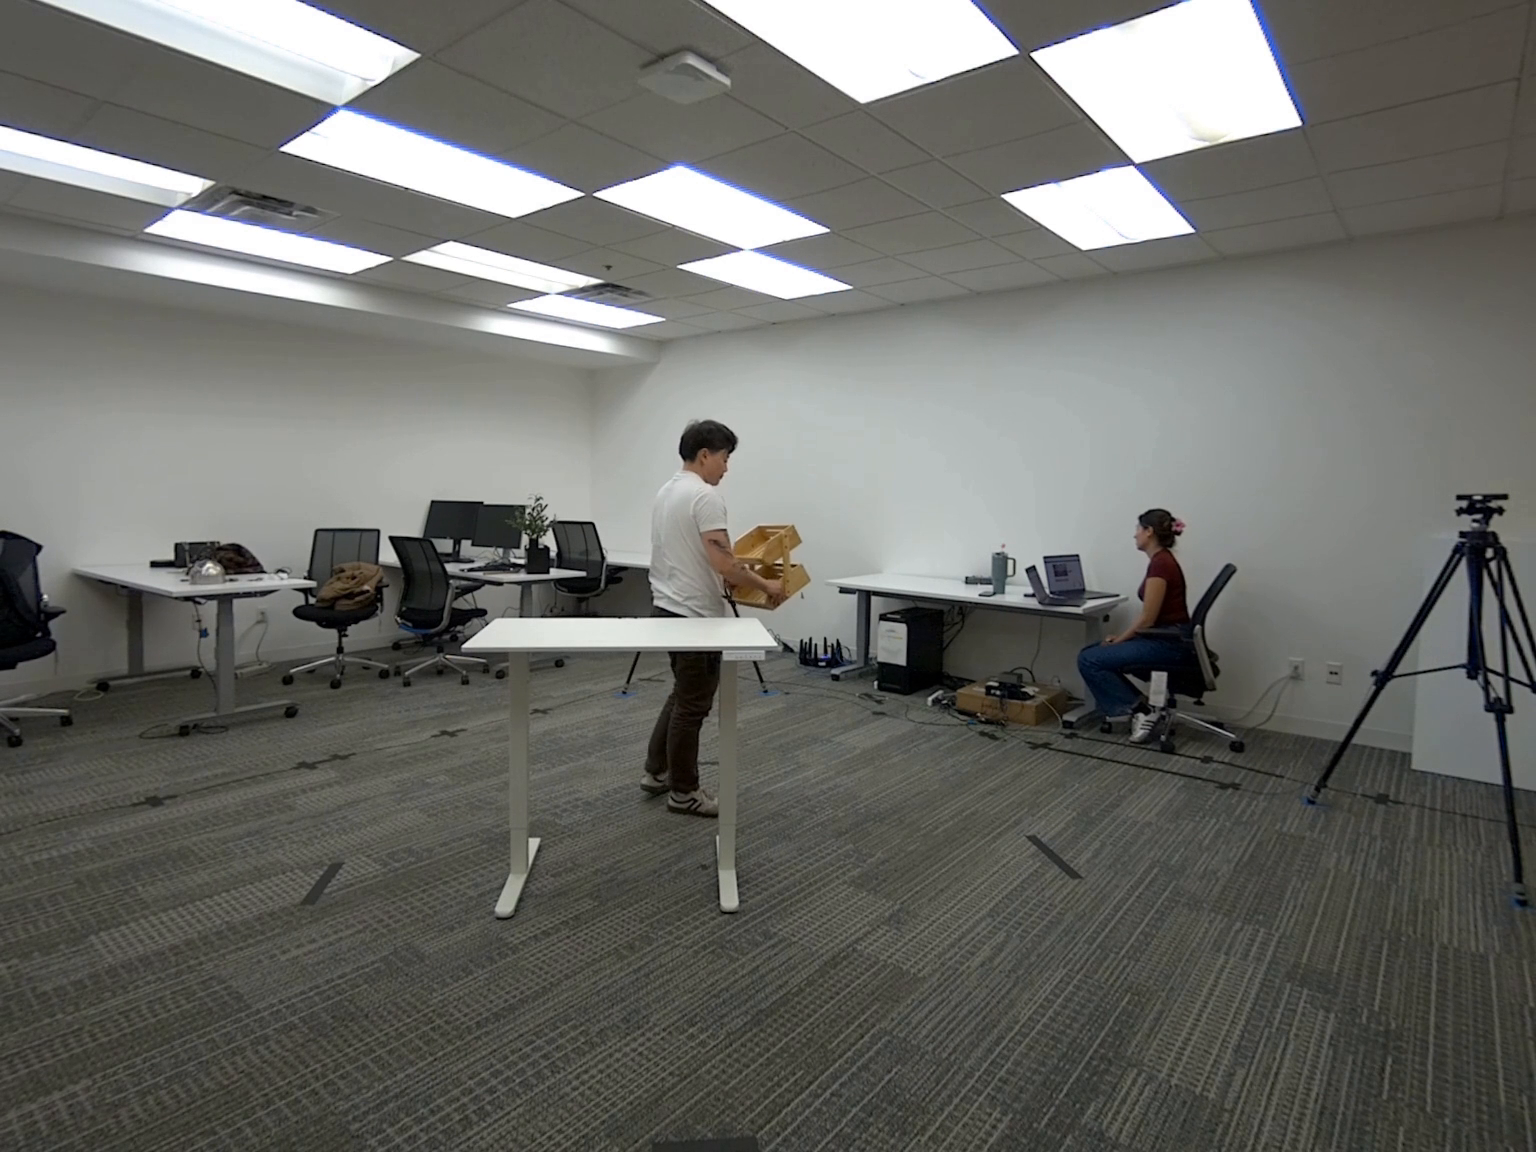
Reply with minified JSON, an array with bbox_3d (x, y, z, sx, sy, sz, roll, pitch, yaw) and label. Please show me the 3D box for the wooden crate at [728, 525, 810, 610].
[{"bbox_3d":[-0.034,-0.046,3.757,0.300,0.268,0.333,-36,18,-23],"label":"wooden crate"}]
